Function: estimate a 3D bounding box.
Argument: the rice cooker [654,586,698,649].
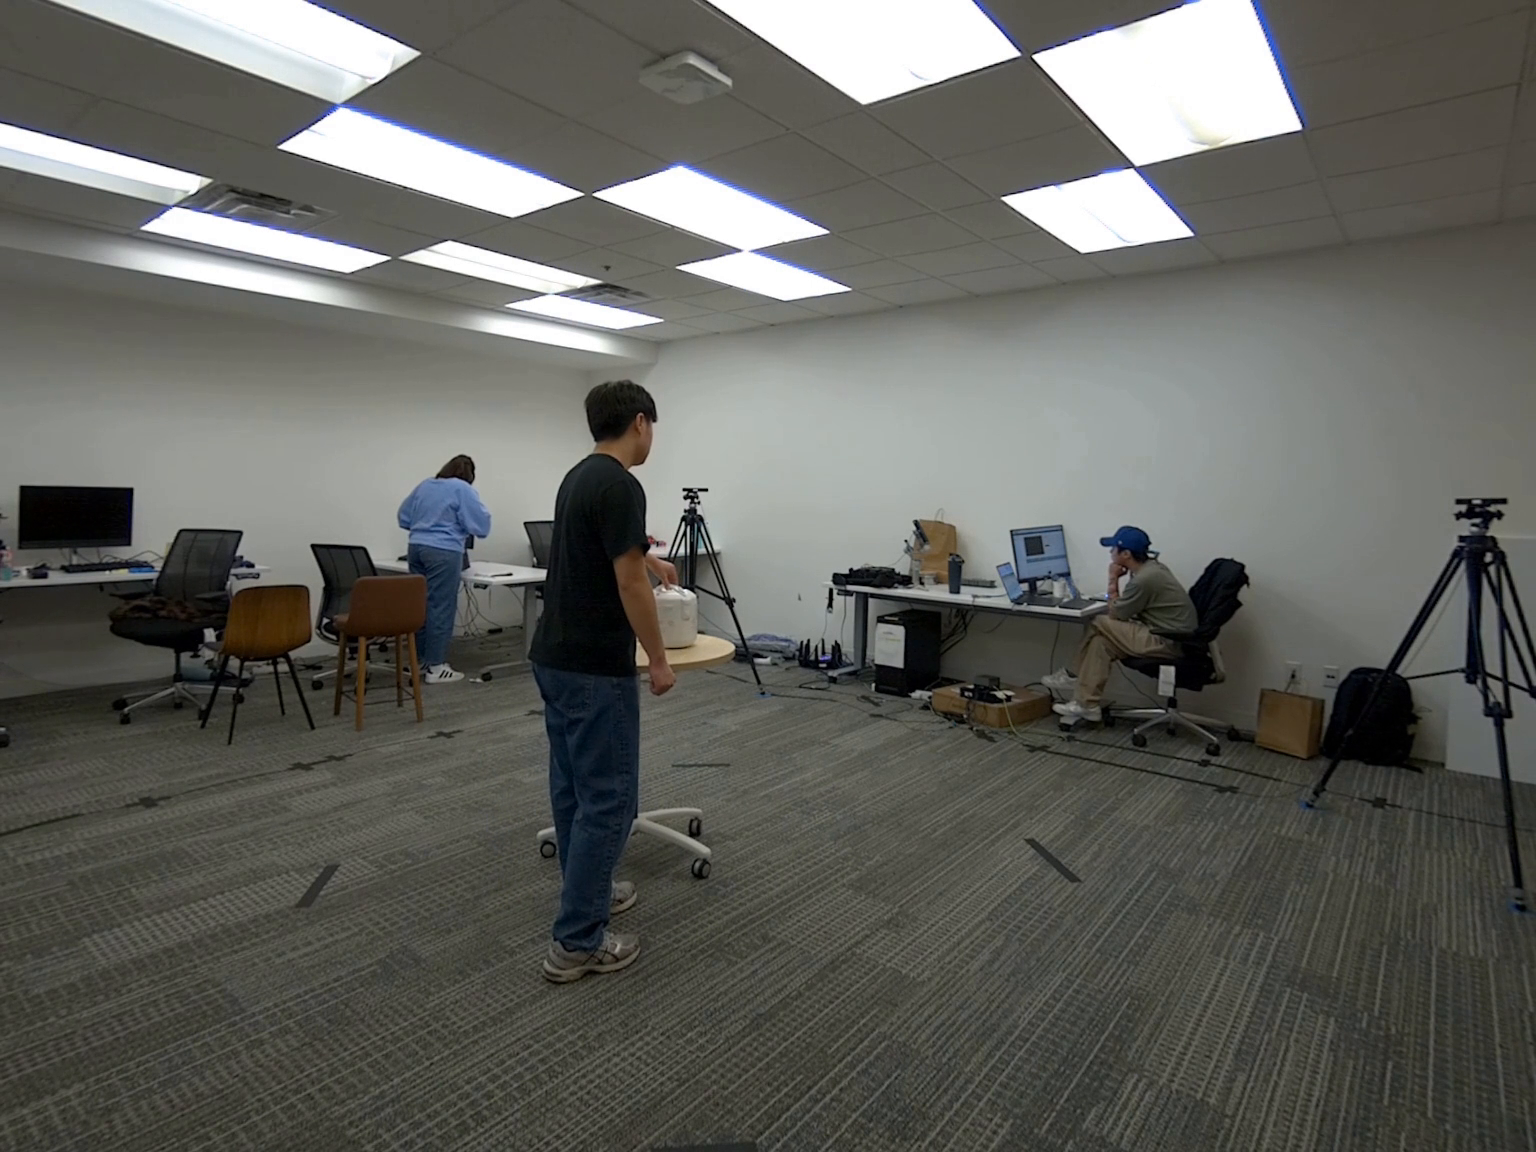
[{"bbox_3d":[-0.383,0.143,3.220,0.211,0.232,0.228,-3,6,-43],"label":"rice cooker"}]
